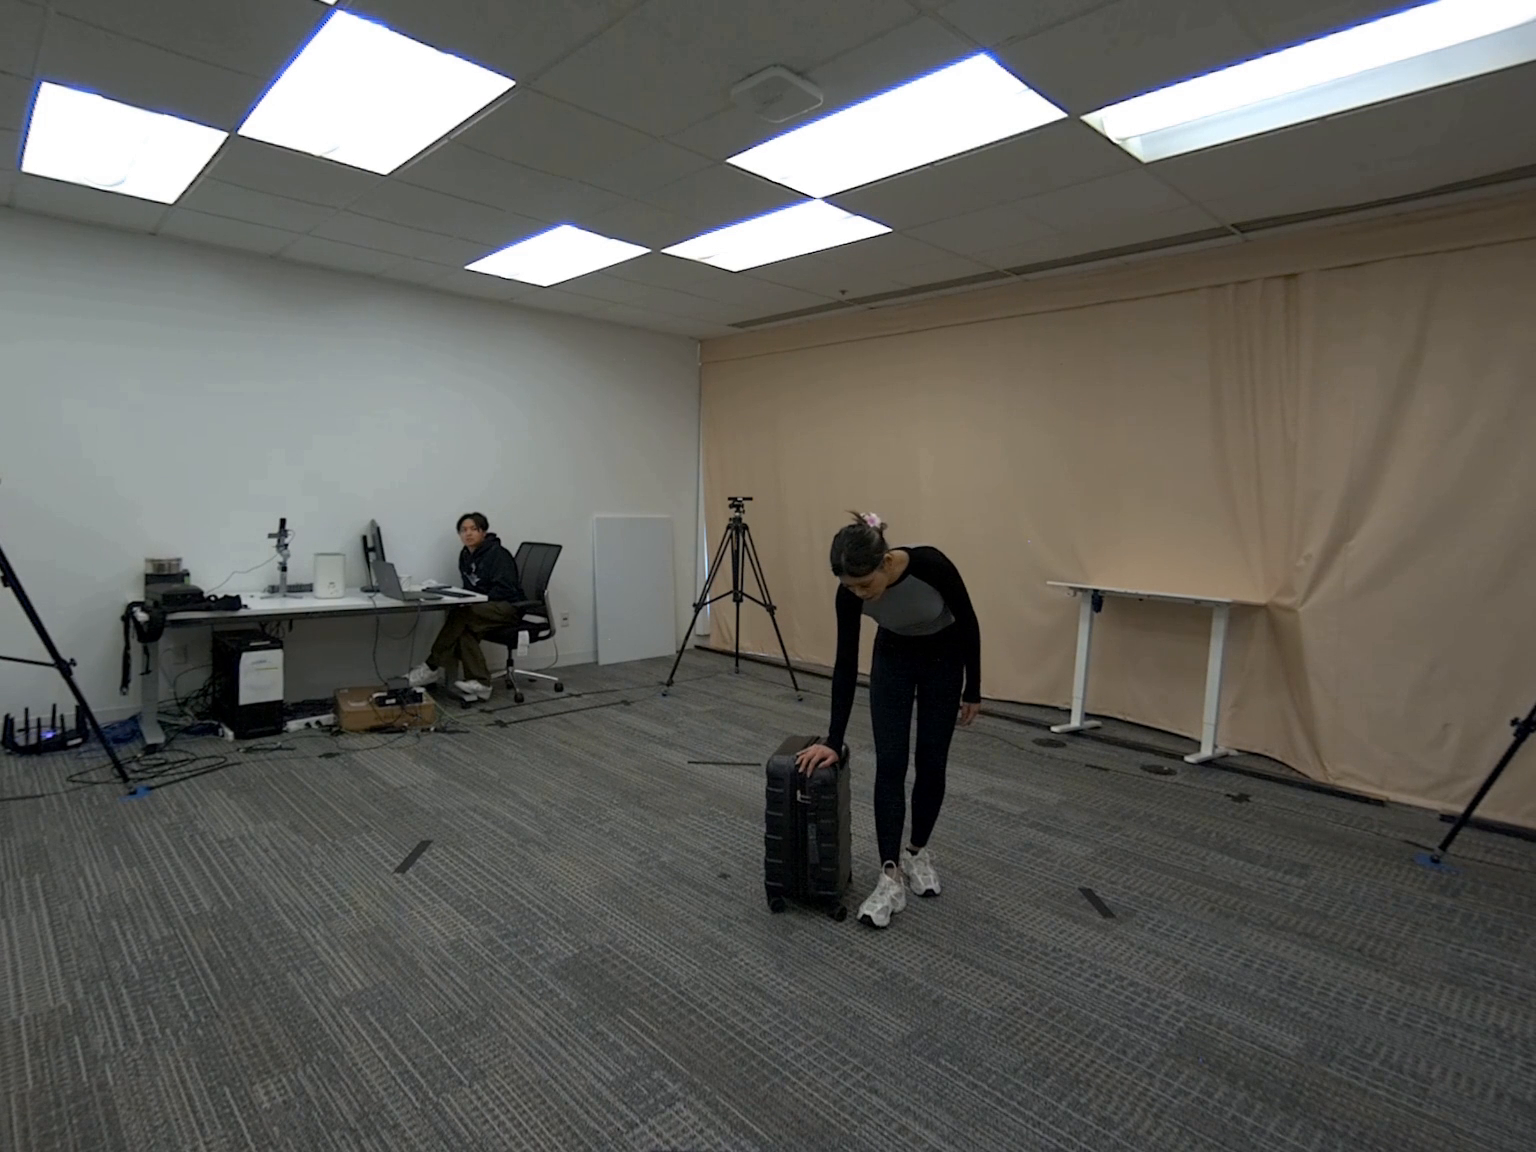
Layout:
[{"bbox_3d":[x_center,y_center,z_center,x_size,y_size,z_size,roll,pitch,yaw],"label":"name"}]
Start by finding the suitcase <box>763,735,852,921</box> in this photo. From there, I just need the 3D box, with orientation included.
[{"bbox_3d":[0.139,0.854,2.938,0.251,0.547,0.372,0,5,15],"label":"suitcase"}]
